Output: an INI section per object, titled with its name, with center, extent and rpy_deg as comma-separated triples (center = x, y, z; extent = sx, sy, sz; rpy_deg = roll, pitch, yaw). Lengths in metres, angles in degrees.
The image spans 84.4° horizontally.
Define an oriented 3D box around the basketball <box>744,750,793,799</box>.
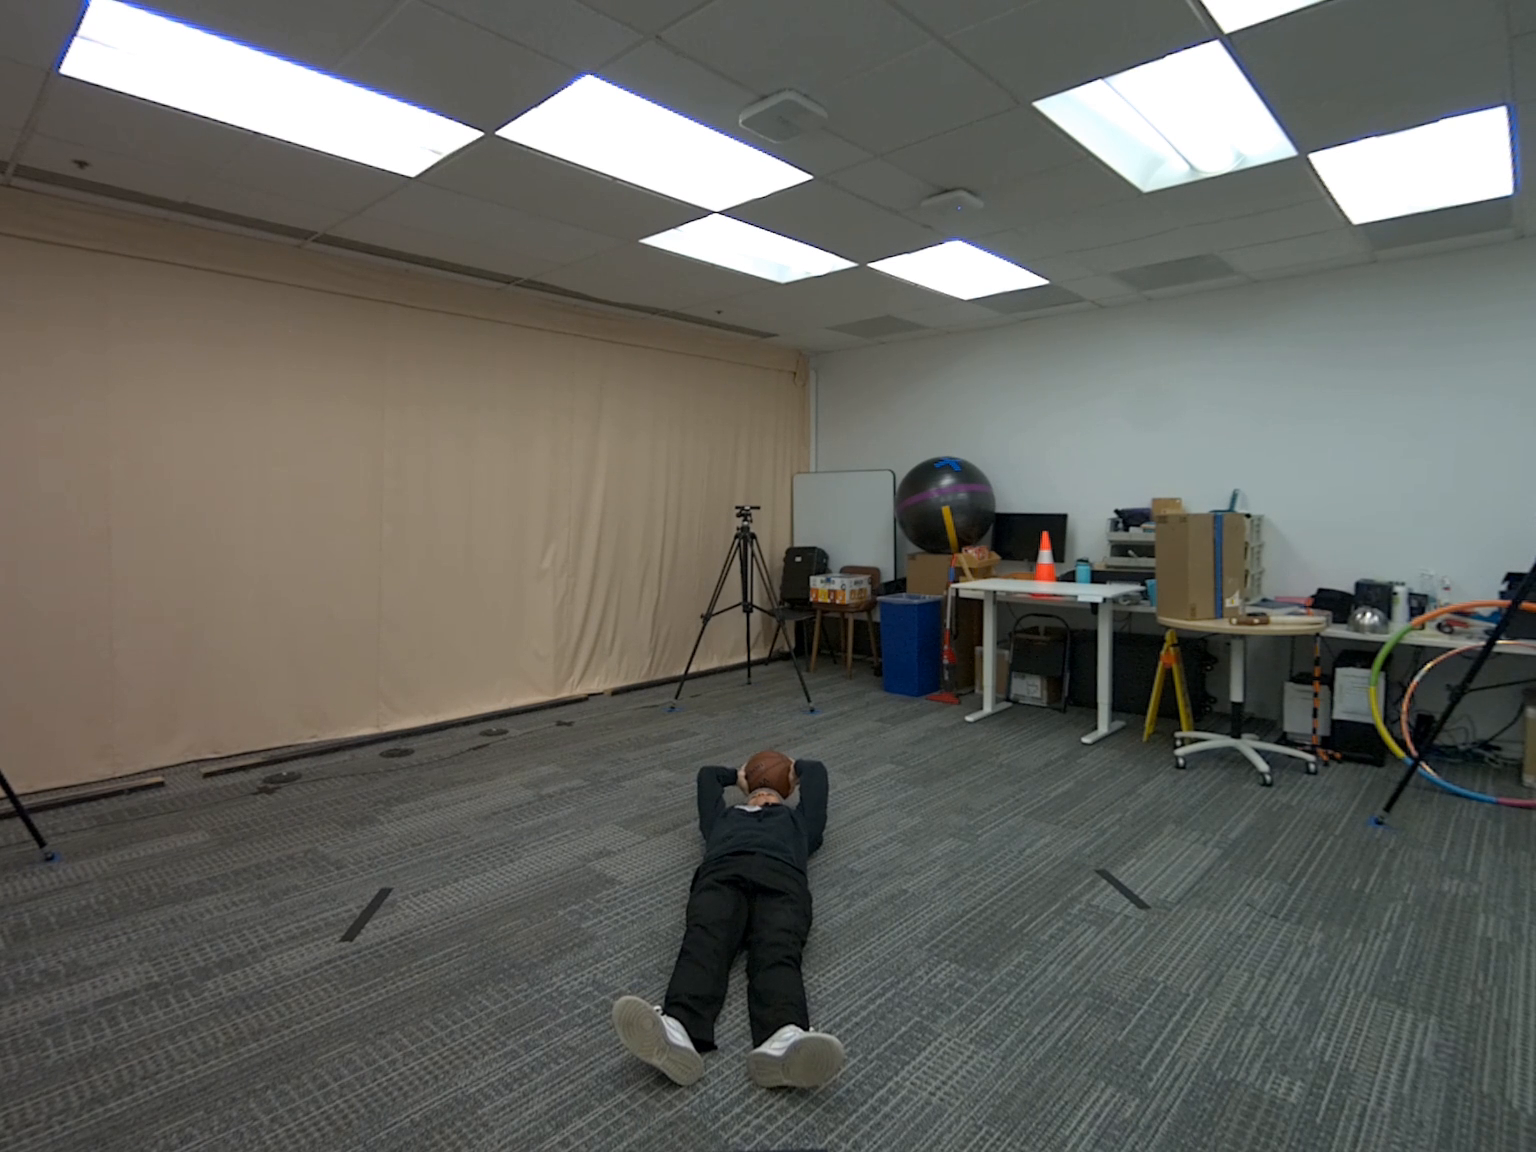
[basketball]
center = 0.014, 0.912, 3.841
extent = 0.236, 0.235, 0.237
rpy_deg = 0, 4, -2
